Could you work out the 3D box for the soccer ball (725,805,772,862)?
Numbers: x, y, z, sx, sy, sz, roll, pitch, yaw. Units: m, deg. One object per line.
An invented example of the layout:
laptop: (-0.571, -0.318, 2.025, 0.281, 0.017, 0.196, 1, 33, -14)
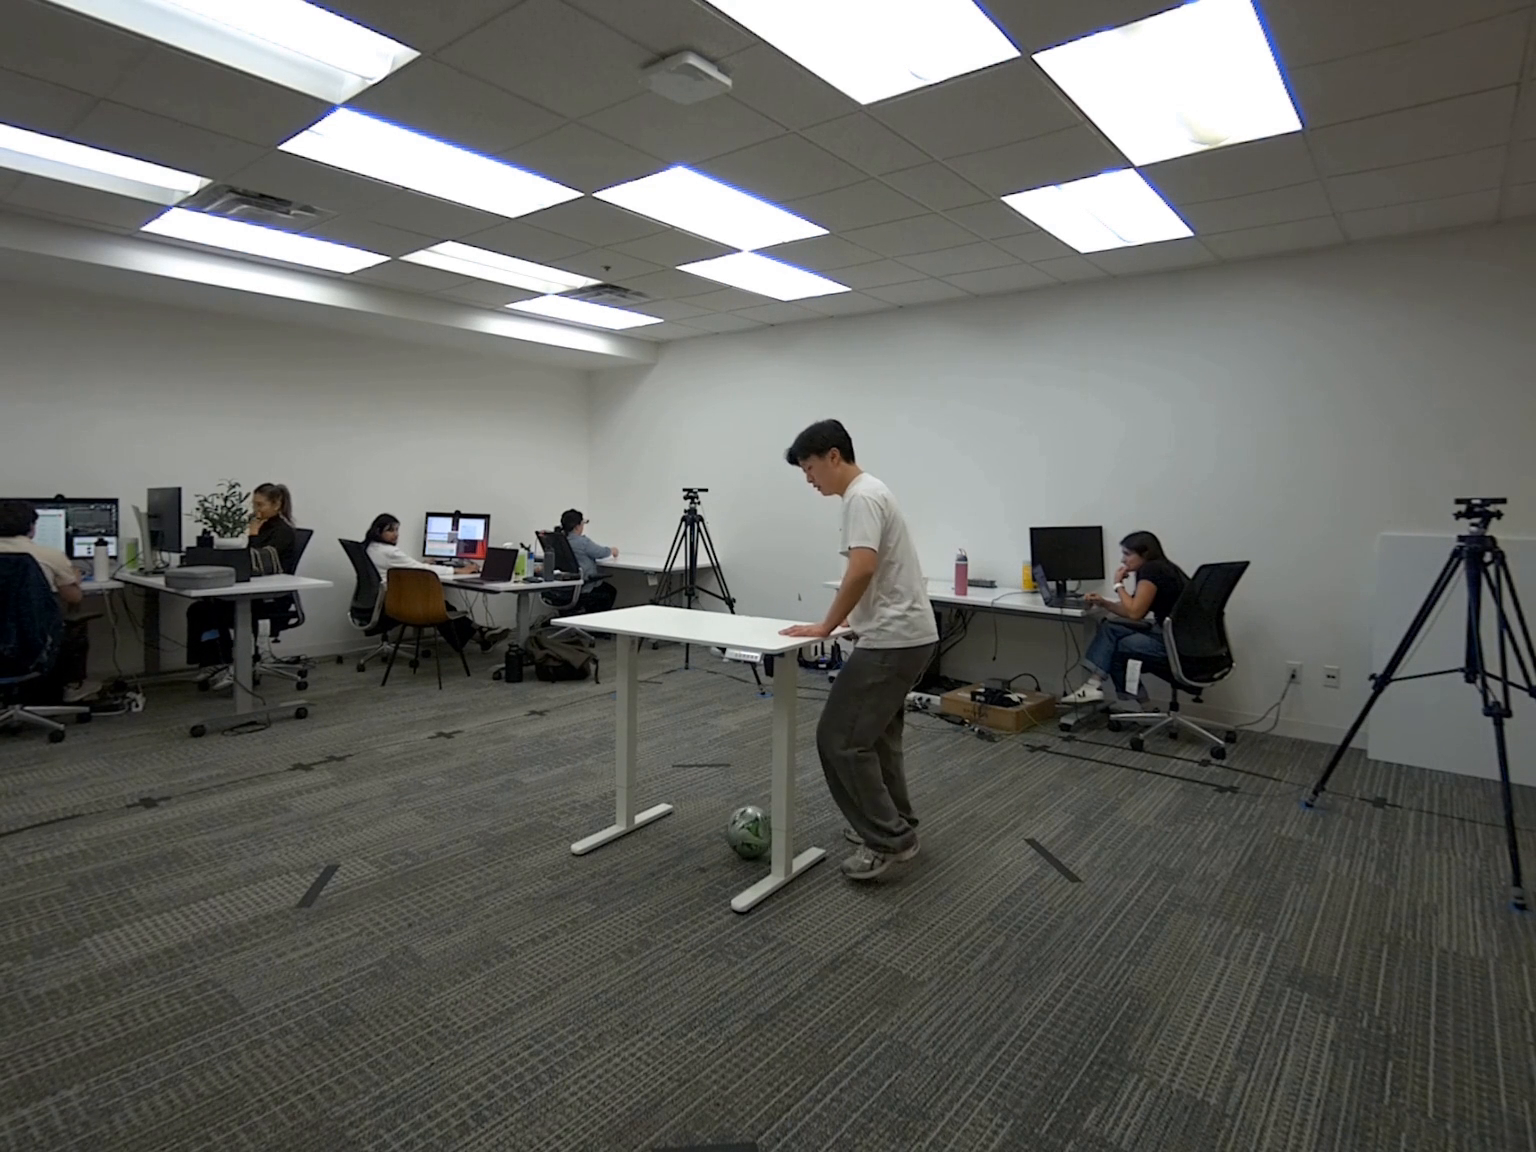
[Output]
soccer ball: (-0.069, 0.960, 3.233, 0.187, 0.187, 0.188, 1, 4, -2)
